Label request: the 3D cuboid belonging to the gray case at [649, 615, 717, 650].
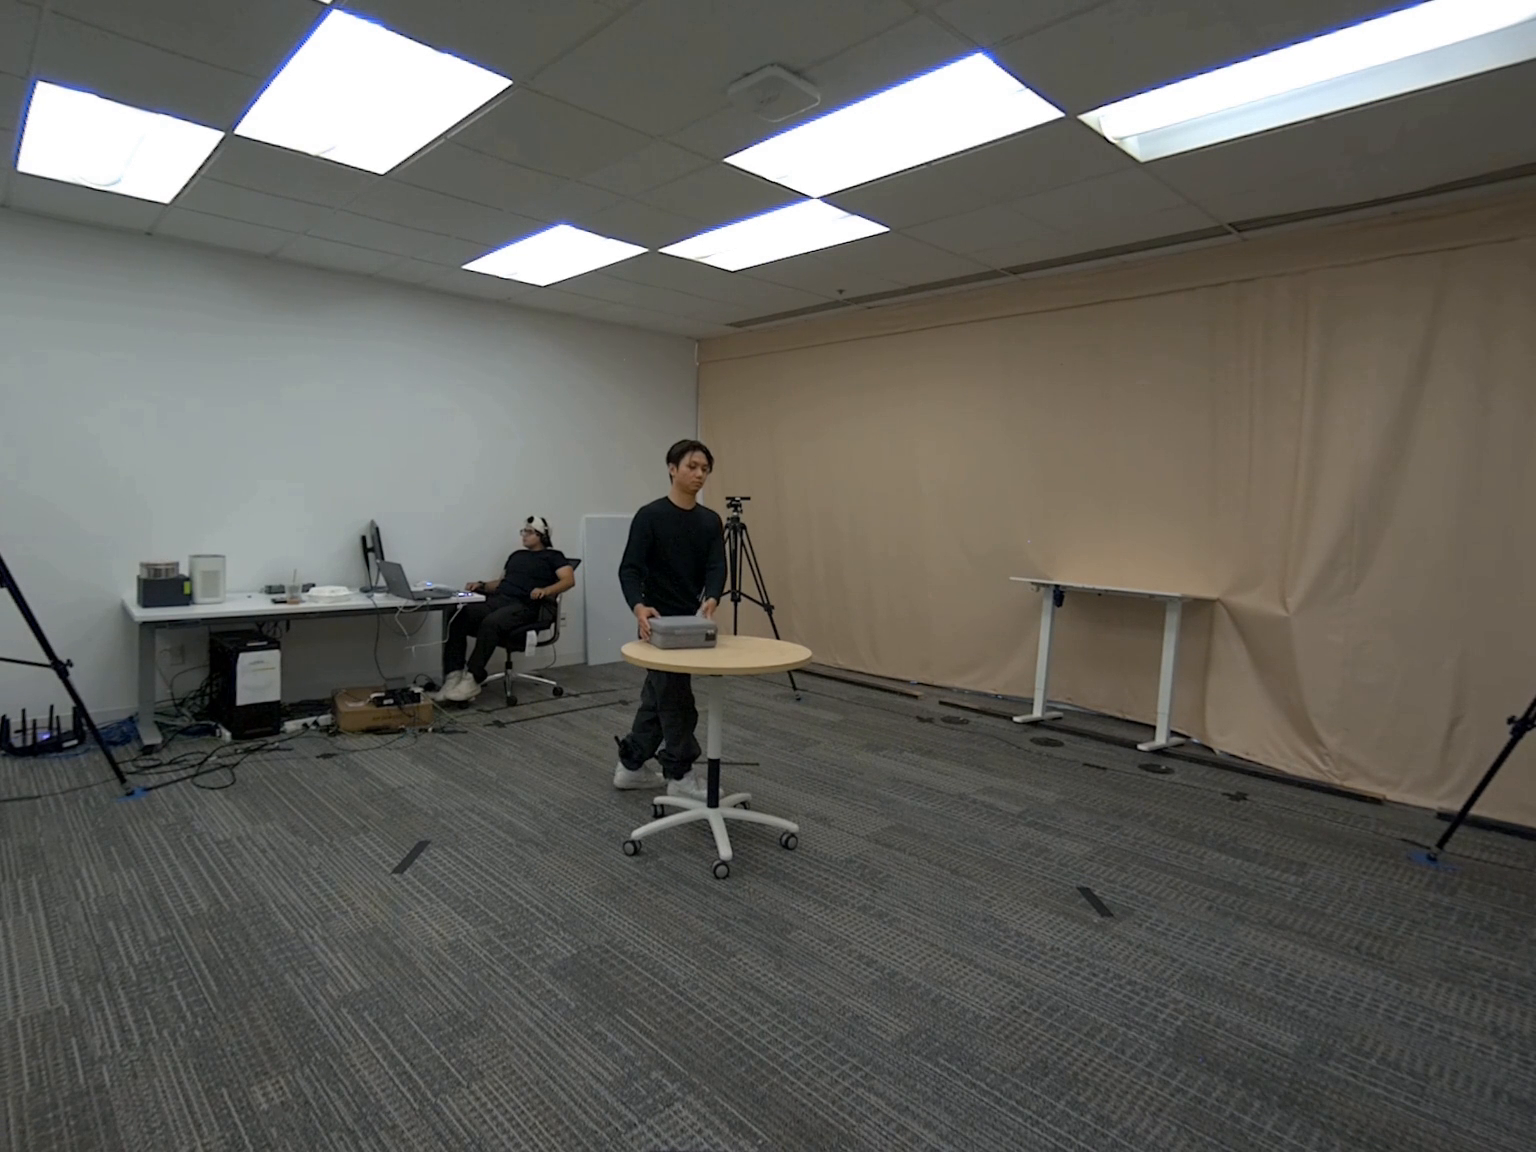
[{"bbox_3d":[-0.375,0.232,3.496,0.253,0.104,0.265,-1,4,-22],"label":"gray case"}]
